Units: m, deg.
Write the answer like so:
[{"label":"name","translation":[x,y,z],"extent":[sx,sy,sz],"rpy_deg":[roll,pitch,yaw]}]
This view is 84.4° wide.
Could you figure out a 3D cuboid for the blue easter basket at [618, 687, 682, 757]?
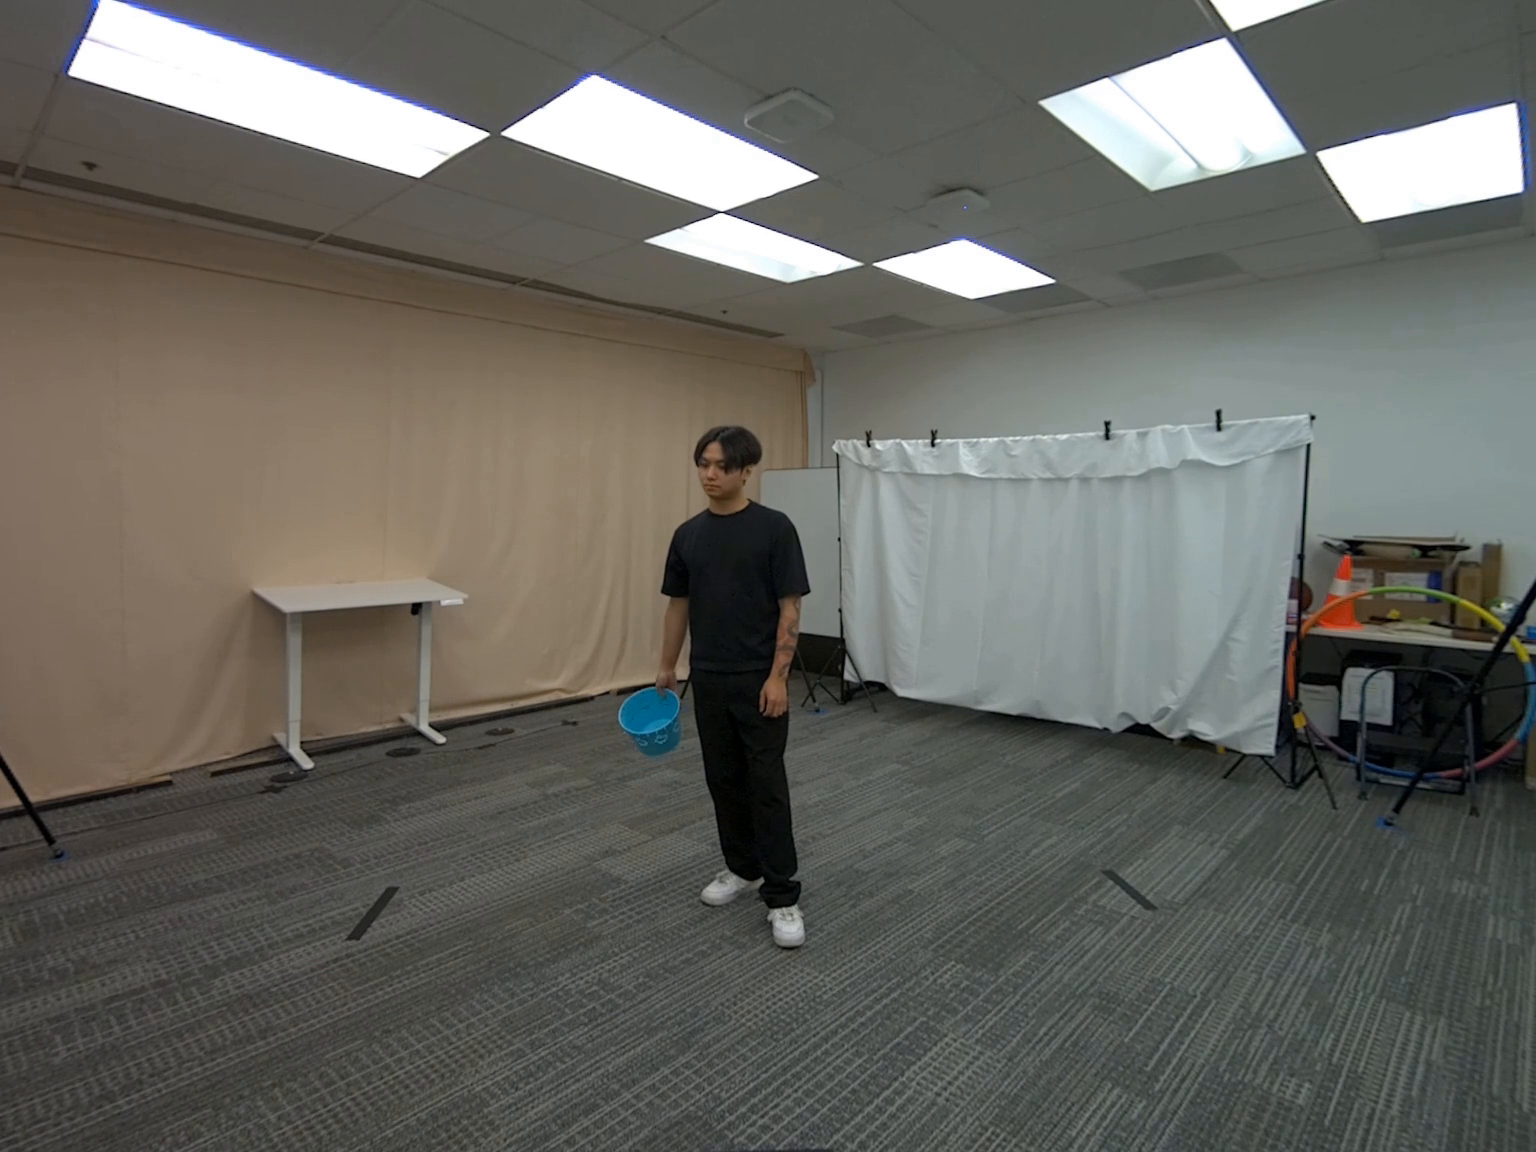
[{"label":"blue easter basket","translation":[-0.422,0.544,3.129],"extent":[0.245,0.152,0.248],"rpy_deg":[-11,36,6]}]
